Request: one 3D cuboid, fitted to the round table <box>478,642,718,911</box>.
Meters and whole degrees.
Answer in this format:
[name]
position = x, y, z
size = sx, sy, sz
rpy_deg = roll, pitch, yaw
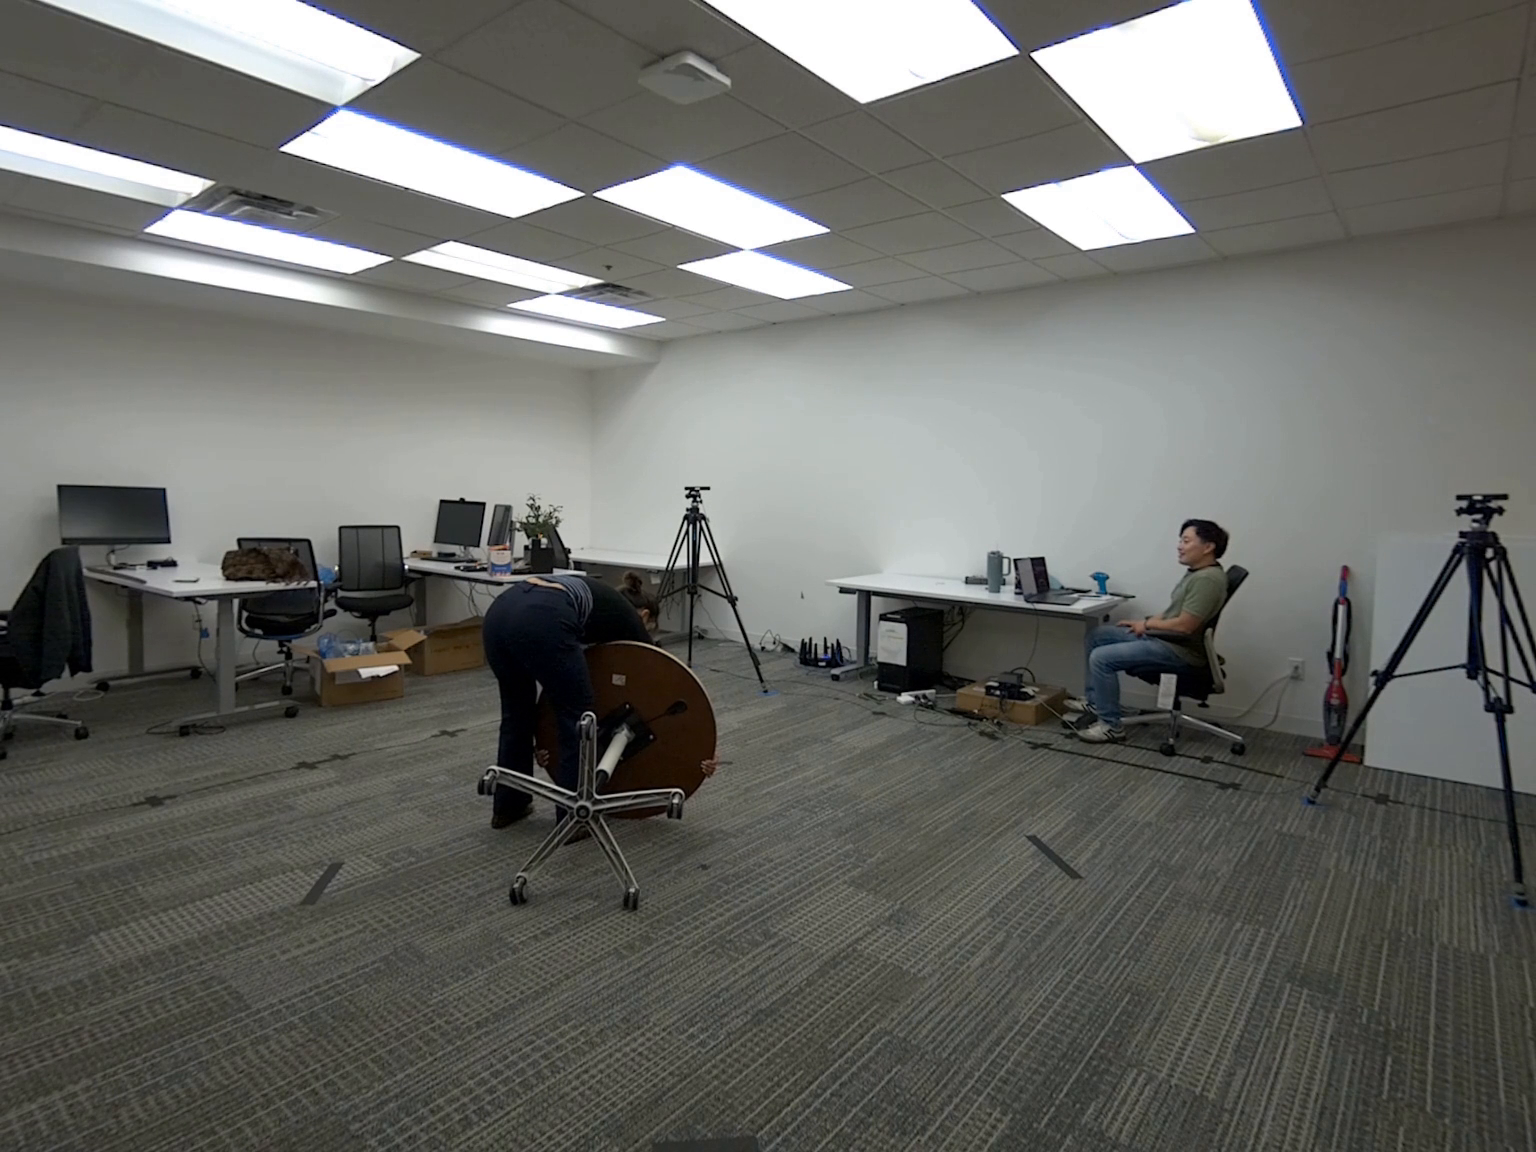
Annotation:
[round table]
position = -0.614, 0.723, 3.131
size = 0.768, 0.756, 0.799
rpy_deg = 1, 11, 3
